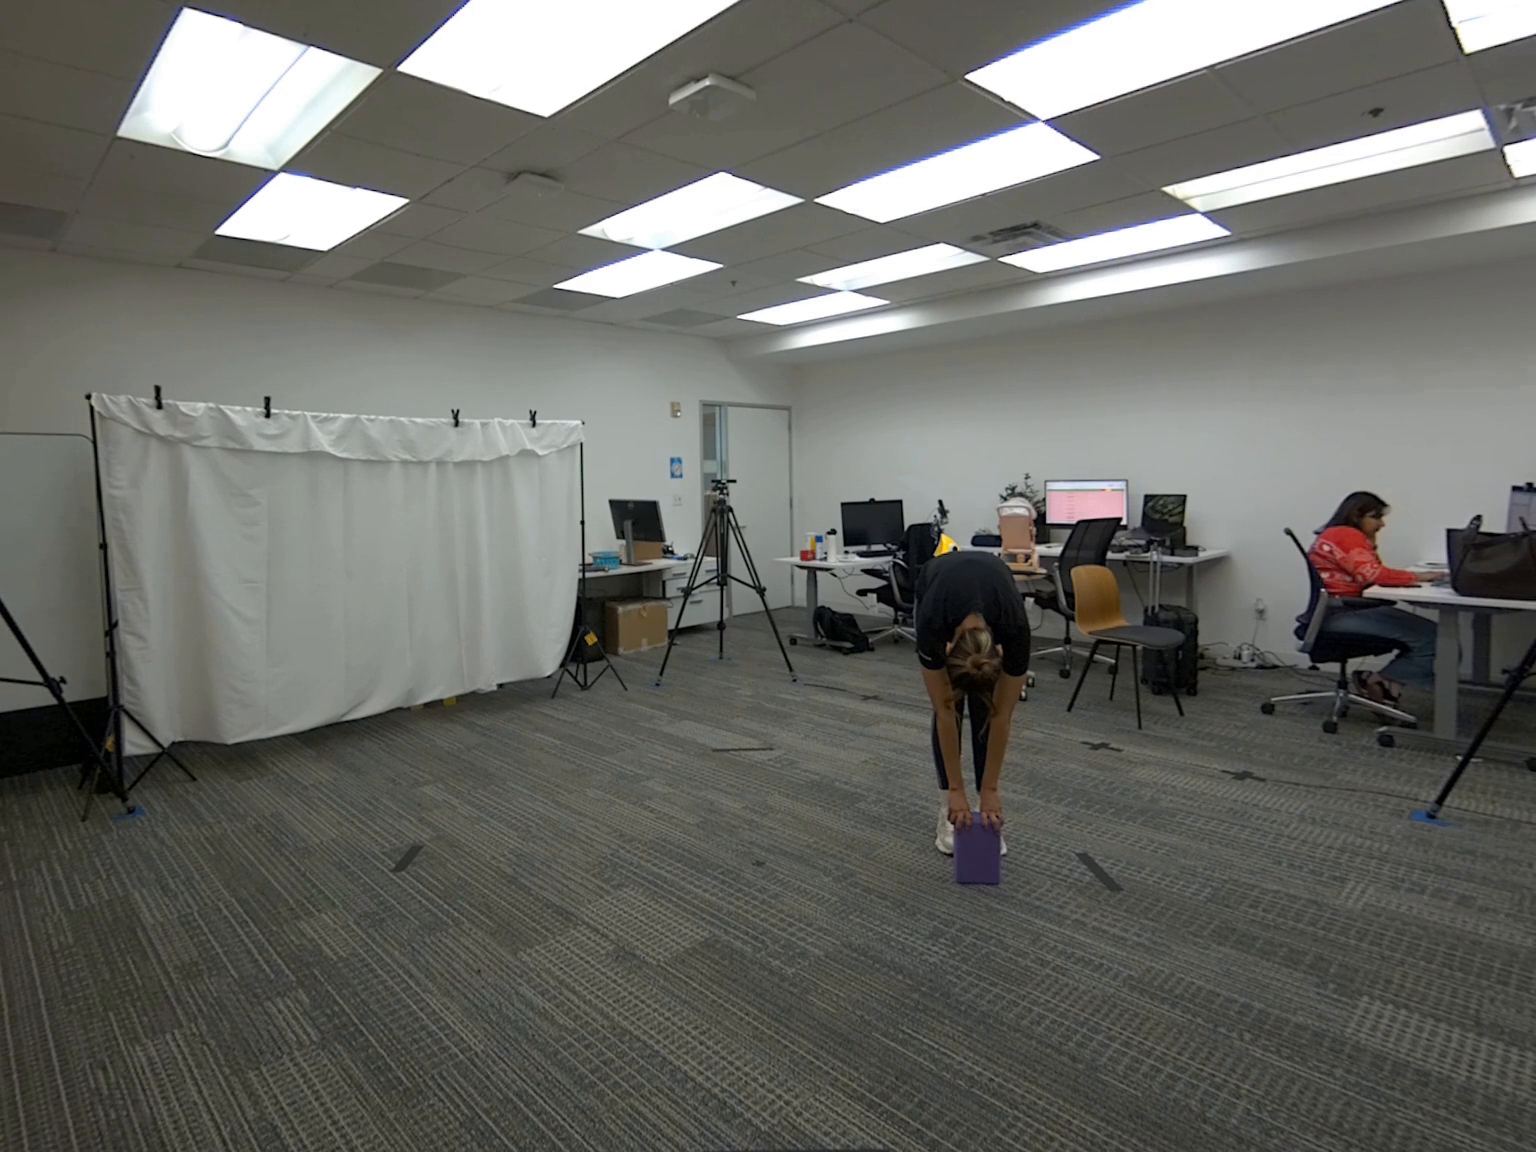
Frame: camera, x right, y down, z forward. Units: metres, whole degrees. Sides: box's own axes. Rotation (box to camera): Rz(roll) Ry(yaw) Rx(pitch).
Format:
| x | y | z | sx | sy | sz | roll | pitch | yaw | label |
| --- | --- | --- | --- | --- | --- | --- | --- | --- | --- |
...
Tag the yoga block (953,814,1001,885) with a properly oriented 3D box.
| x | y | z | sx | sy | sz | roll | pitch | yaw | label |
| --- | --- | --- | --- | --- | --- | --- | --- | --- | --- |
| 0.724 | 0.945 | 2.942 | 0.150 | 0.228 | 0.076 | -3 | 3 | 4 | yoga block |
